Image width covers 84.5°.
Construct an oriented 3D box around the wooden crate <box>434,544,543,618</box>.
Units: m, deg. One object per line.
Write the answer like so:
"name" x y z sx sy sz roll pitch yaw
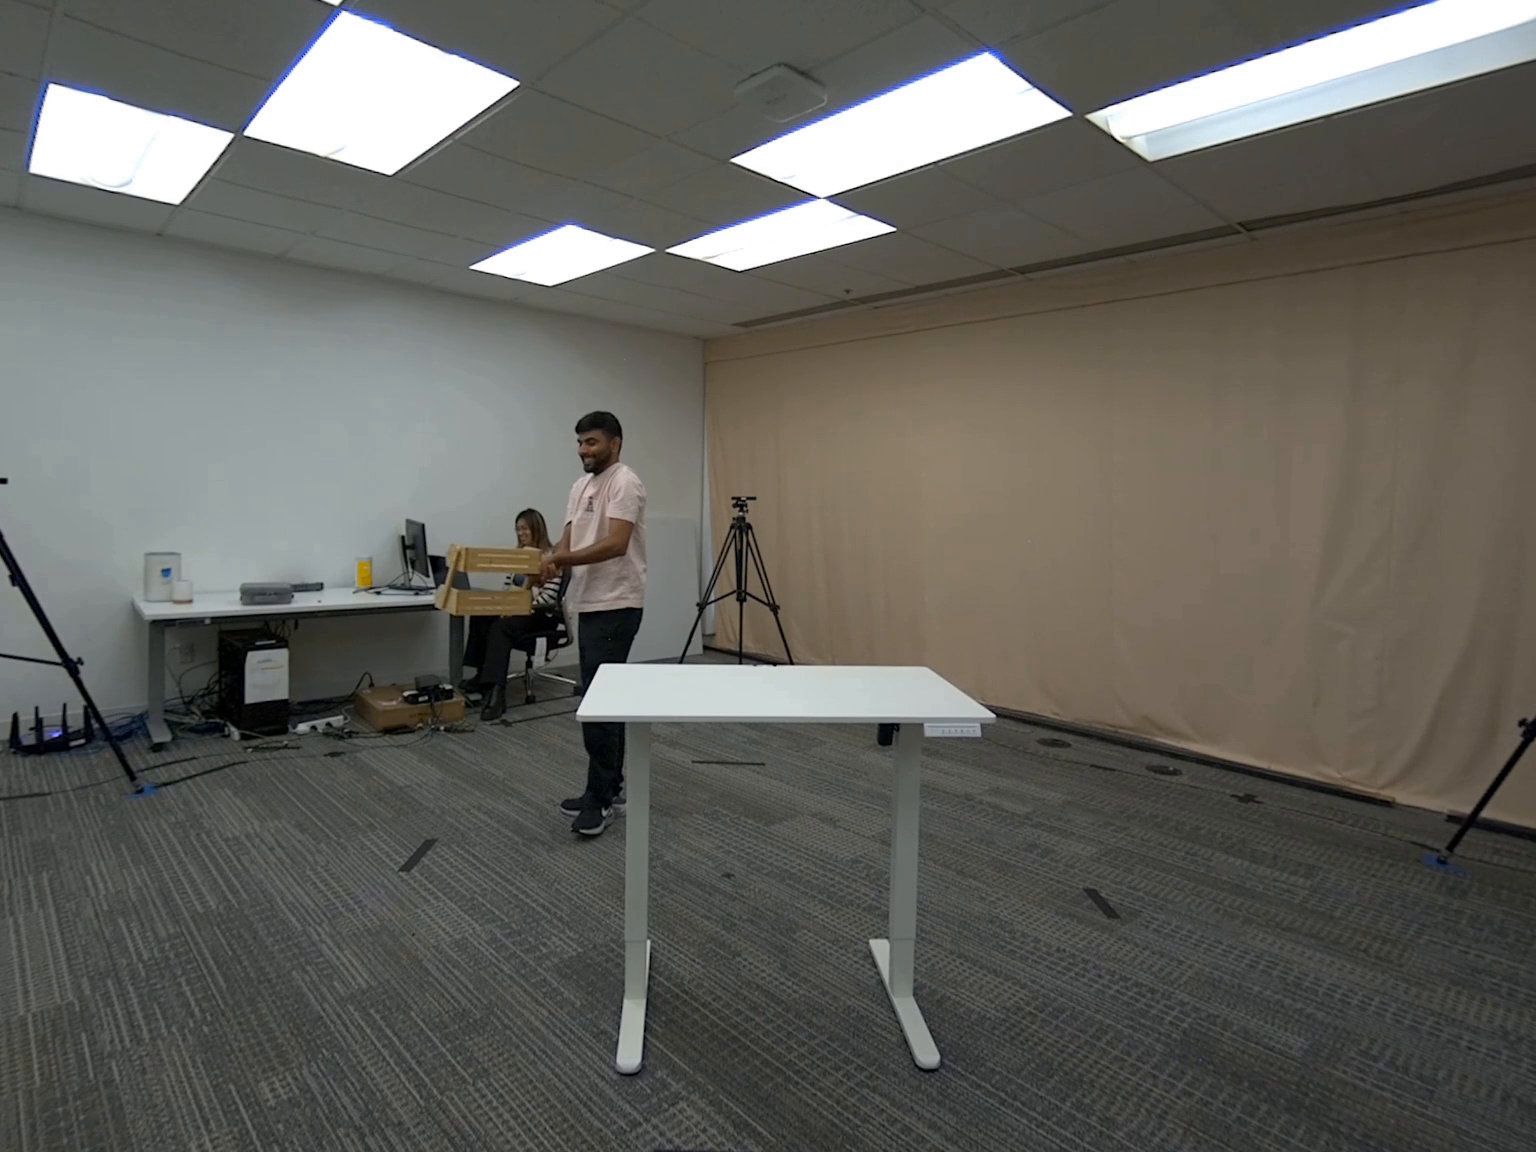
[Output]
"wooden crate" -1.103 0.007 3.275 0.317 0.272 0.310 2 6 -39
